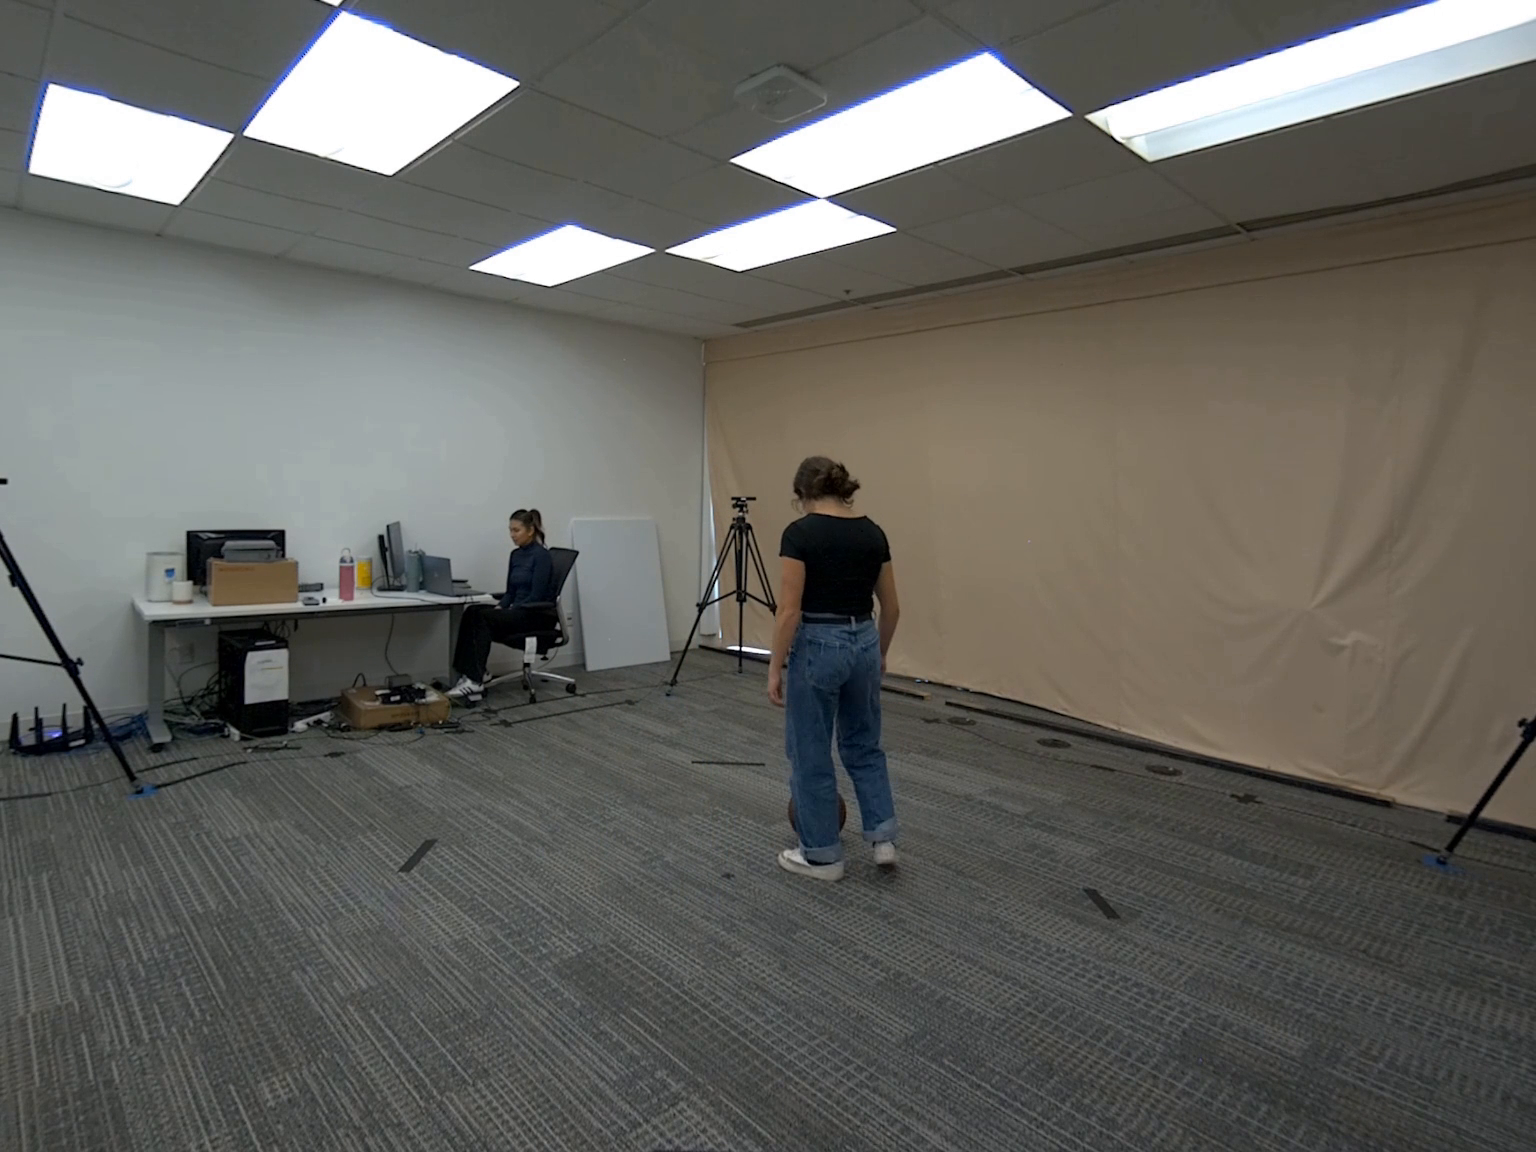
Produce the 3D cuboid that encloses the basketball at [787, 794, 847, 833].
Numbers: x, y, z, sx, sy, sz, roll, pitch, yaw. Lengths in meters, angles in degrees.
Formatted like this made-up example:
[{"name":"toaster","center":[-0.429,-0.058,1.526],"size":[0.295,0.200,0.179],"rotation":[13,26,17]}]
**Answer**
[{"name":"basketball","center":[0.200,0.966,3.445],"size":[0.236,0.235,0.237],"rotation":[1,4,-1]}]
